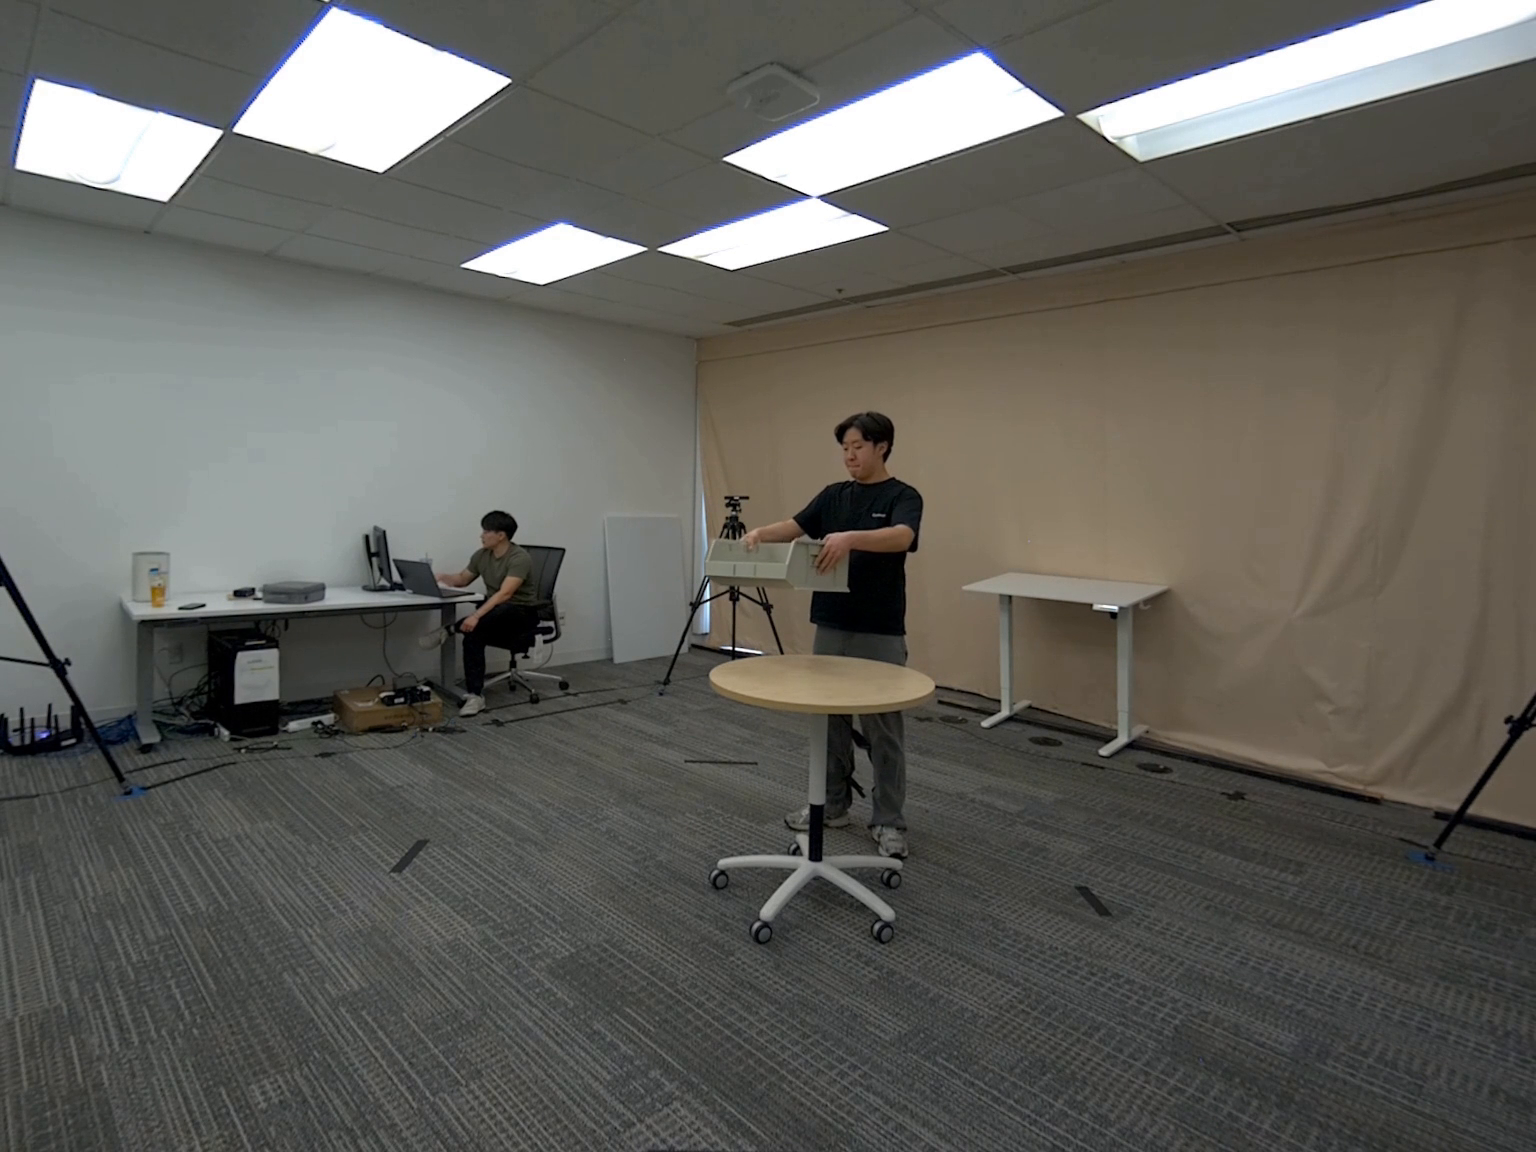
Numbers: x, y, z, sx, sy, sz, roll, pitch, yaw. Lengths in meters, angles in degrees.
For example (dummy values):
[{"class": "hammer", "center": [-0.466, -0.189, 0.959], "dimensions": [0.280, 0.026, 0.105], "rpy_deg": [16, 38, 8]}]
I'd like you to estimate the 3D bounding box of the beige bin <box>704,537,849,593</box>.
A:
[{"class": "beige bin", "center": [0.033, -0.038, 3.135], "dimensions": [0.432, 0.189, 0.367], "rpy_deg": [2, -2, 43]}]
